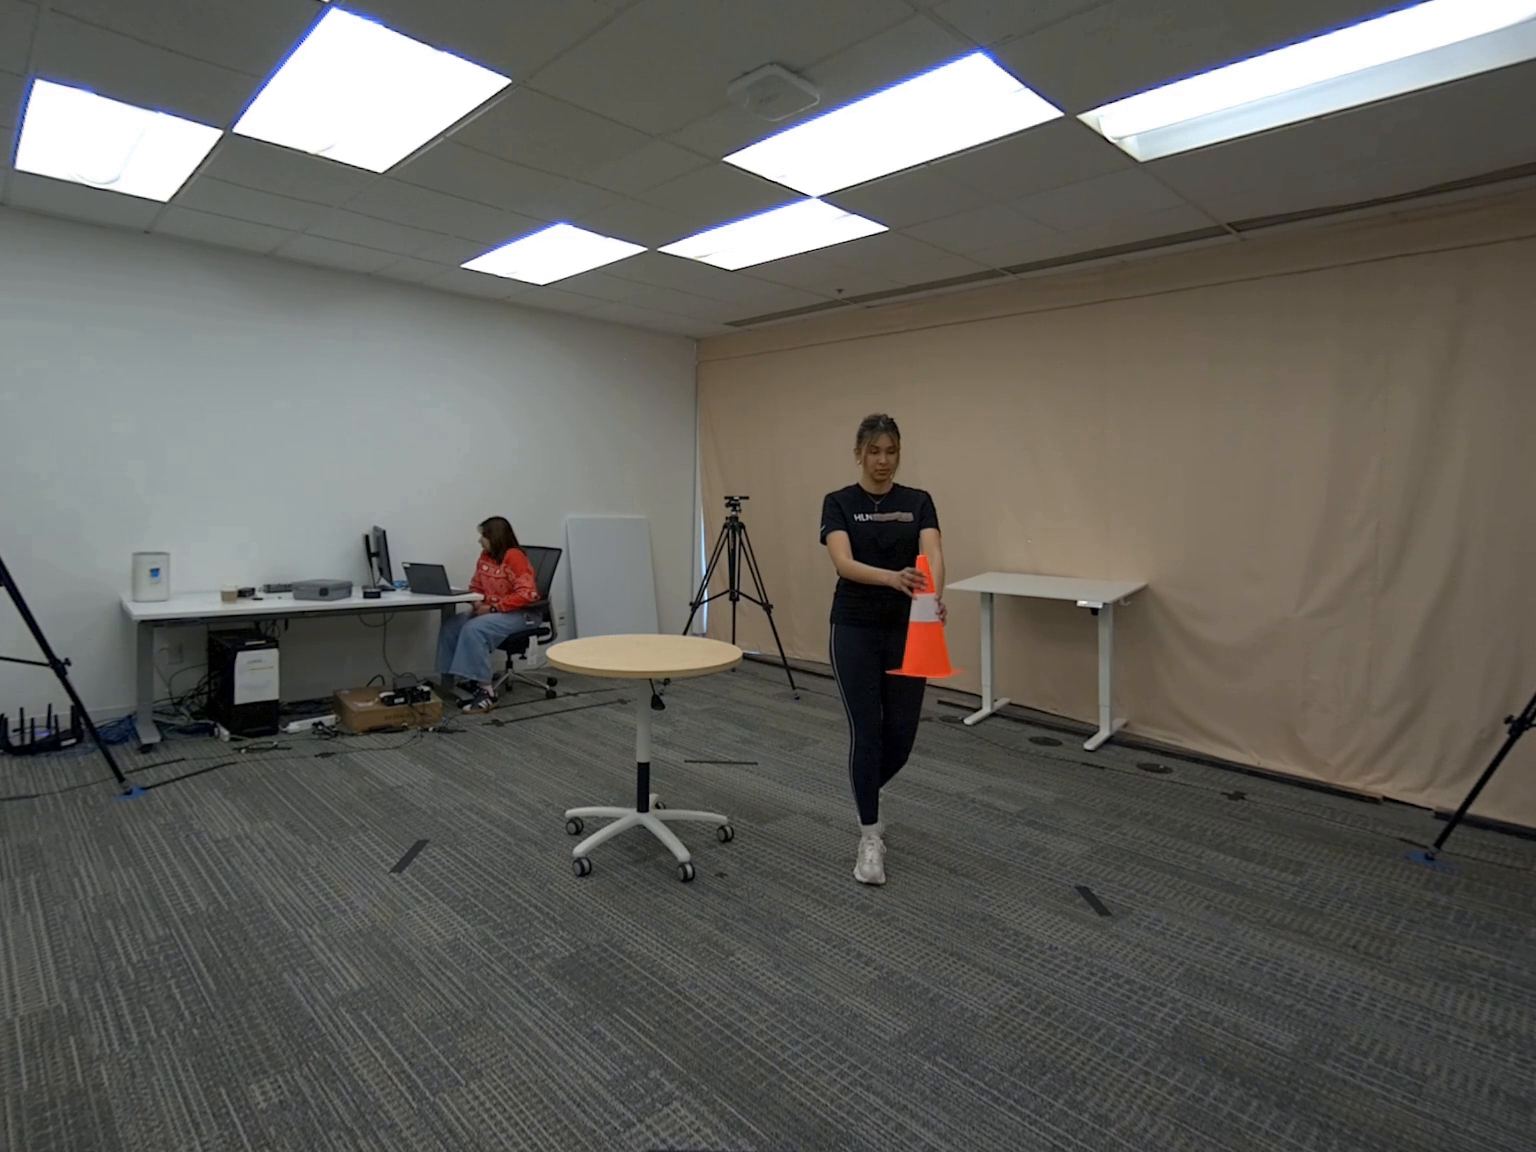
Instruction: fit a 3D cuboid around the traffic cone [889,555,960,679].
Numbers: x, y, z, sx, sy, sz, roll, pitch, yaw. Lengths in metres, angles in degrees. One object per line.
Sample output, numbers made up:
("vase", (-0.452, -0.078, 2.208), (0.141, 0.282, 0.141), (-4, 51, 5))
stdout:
("traffic cone", (0.506, 0.128, 2.741), (0.208, 0.383, 0.200), (1, 3, 45))
